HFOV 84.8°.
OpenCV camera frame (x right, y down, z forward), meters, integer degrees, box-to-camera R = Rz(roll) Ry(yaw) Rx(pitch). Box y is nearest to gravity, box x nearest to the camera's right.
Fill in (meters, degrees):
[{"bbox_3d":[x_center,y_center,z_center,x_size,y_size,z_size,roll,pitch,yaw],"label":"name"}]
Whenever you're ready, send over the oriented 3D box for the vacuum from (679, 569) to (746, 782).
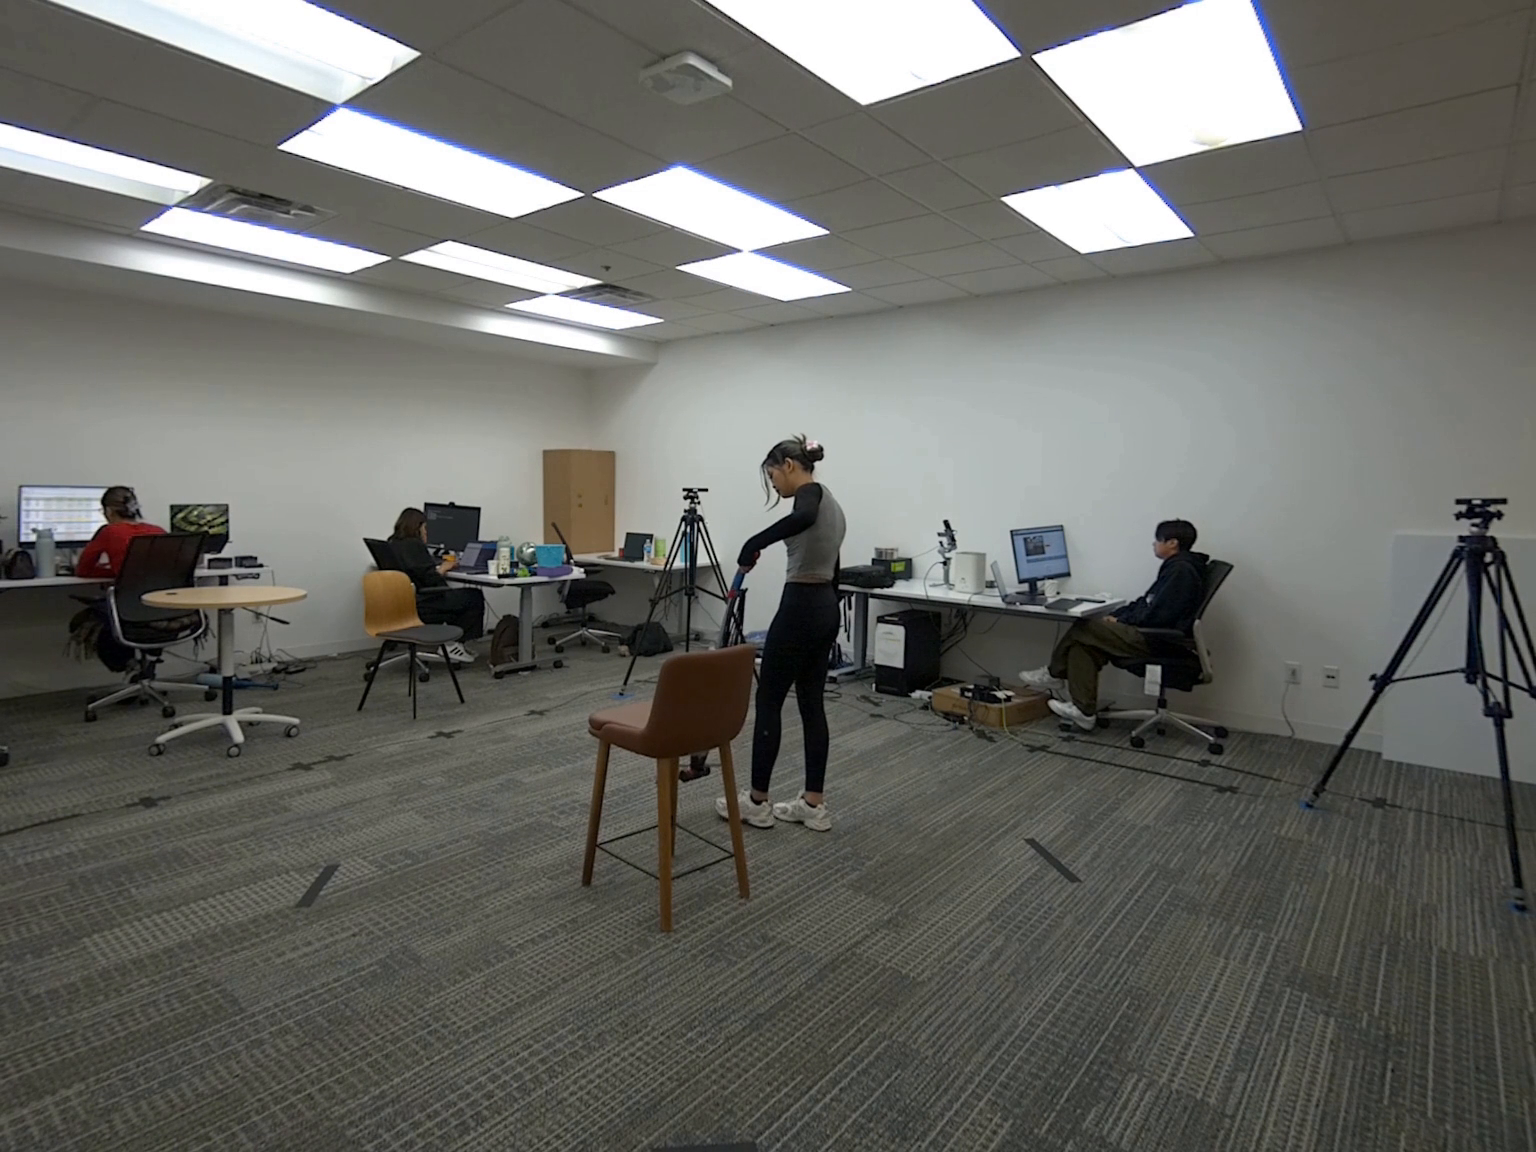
[{"bbox_3d":[-0.209,0.367,3.426,0.149,1.038,0.246,29,21,29],"label":"vacuum"}]
